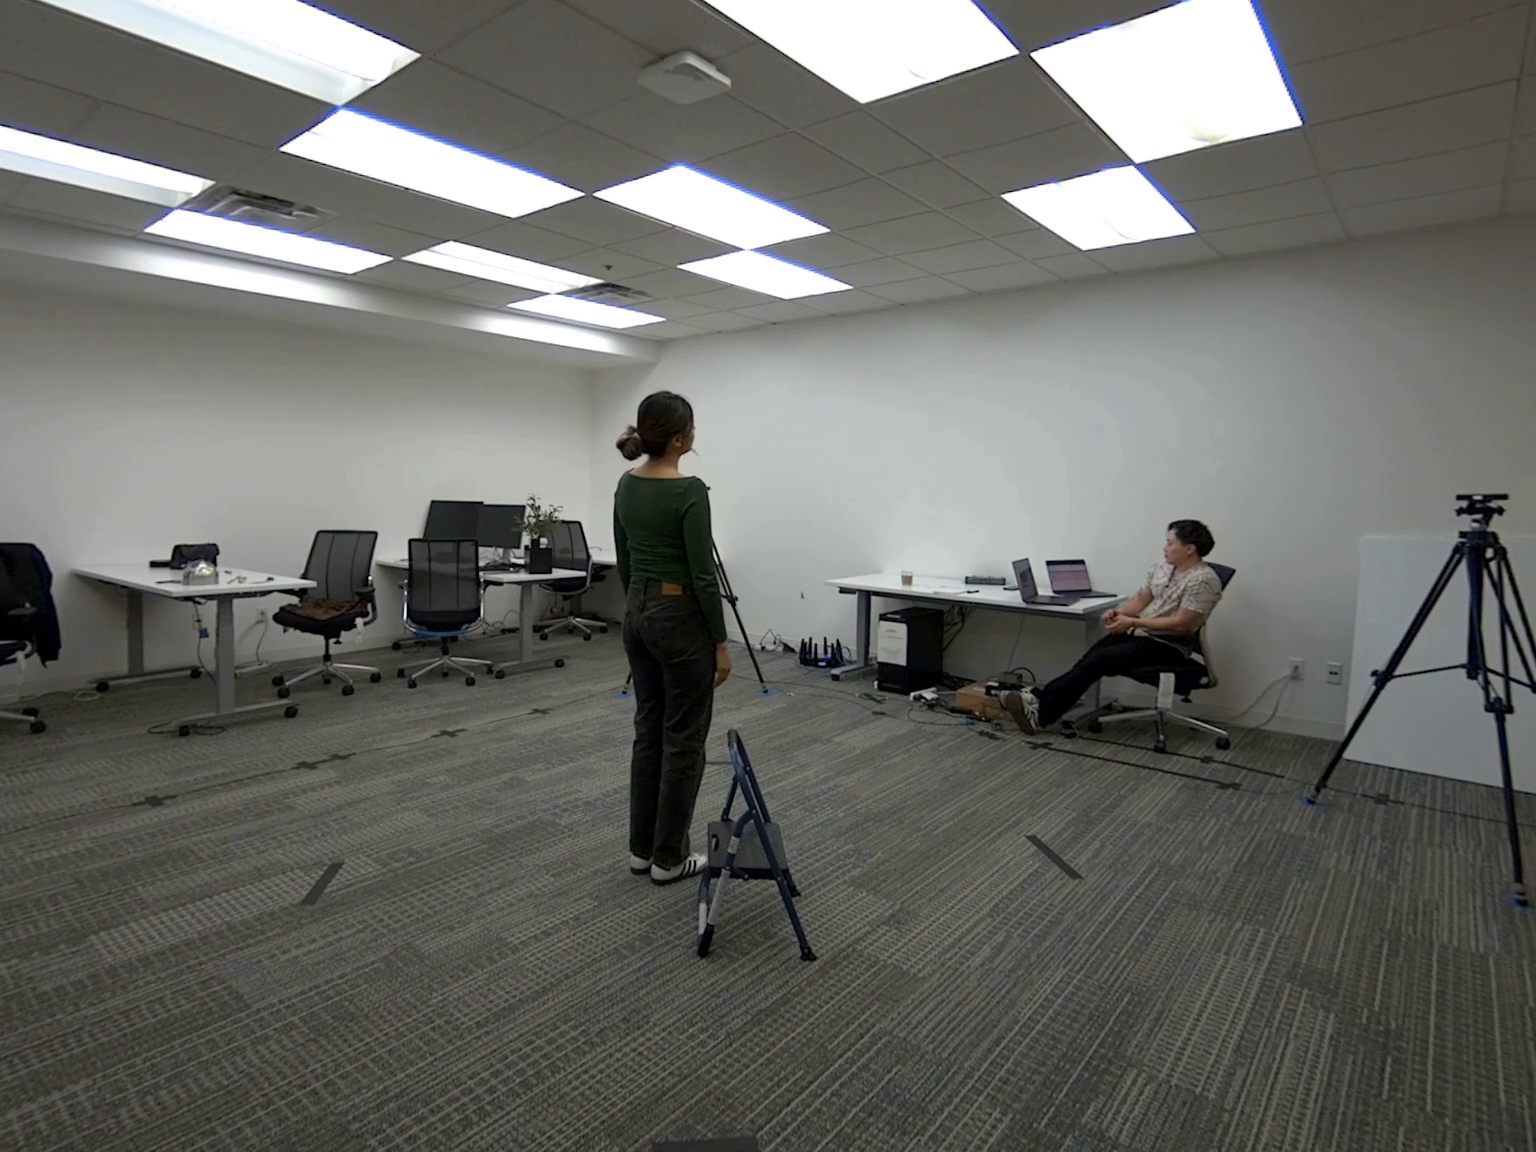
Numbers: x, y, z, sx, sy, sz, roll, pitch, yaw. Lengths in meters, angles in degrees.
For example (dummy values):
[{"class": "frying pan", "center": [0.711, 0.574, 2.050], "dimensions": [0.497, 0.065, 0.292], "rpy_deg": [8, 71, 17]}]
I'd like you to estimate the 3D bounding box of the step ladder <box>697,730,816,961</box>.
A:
[{"class": "step ladder", "center": [-0.049, 0.803, 2.699], "dimensions": [0.348, 0.604, 0.433], "rpy_deg": [1, 3, -4]}]
